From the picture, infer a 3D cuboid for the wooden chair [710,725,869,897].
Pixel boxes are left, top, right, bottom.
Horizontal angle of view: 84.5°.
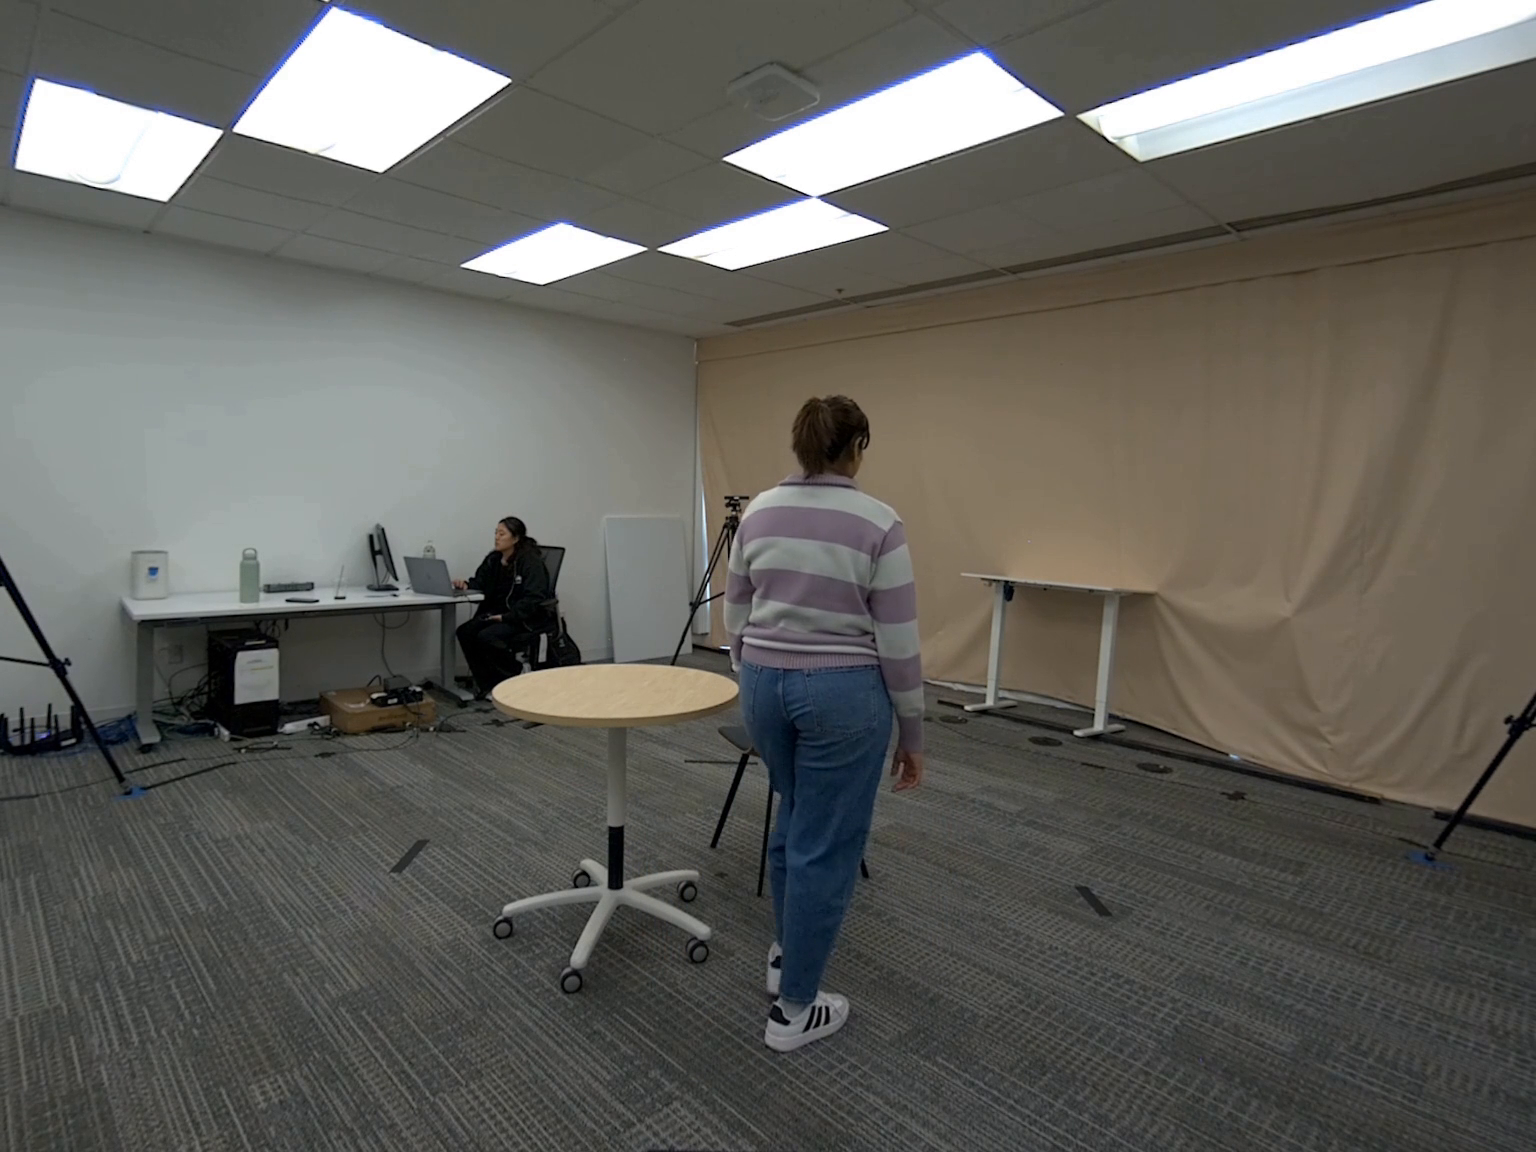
[{"bbox_3d":[0.077,0.675,3.206,0.470,0.873,0.535,0,8,-25],"label":"wooden chair"}]
